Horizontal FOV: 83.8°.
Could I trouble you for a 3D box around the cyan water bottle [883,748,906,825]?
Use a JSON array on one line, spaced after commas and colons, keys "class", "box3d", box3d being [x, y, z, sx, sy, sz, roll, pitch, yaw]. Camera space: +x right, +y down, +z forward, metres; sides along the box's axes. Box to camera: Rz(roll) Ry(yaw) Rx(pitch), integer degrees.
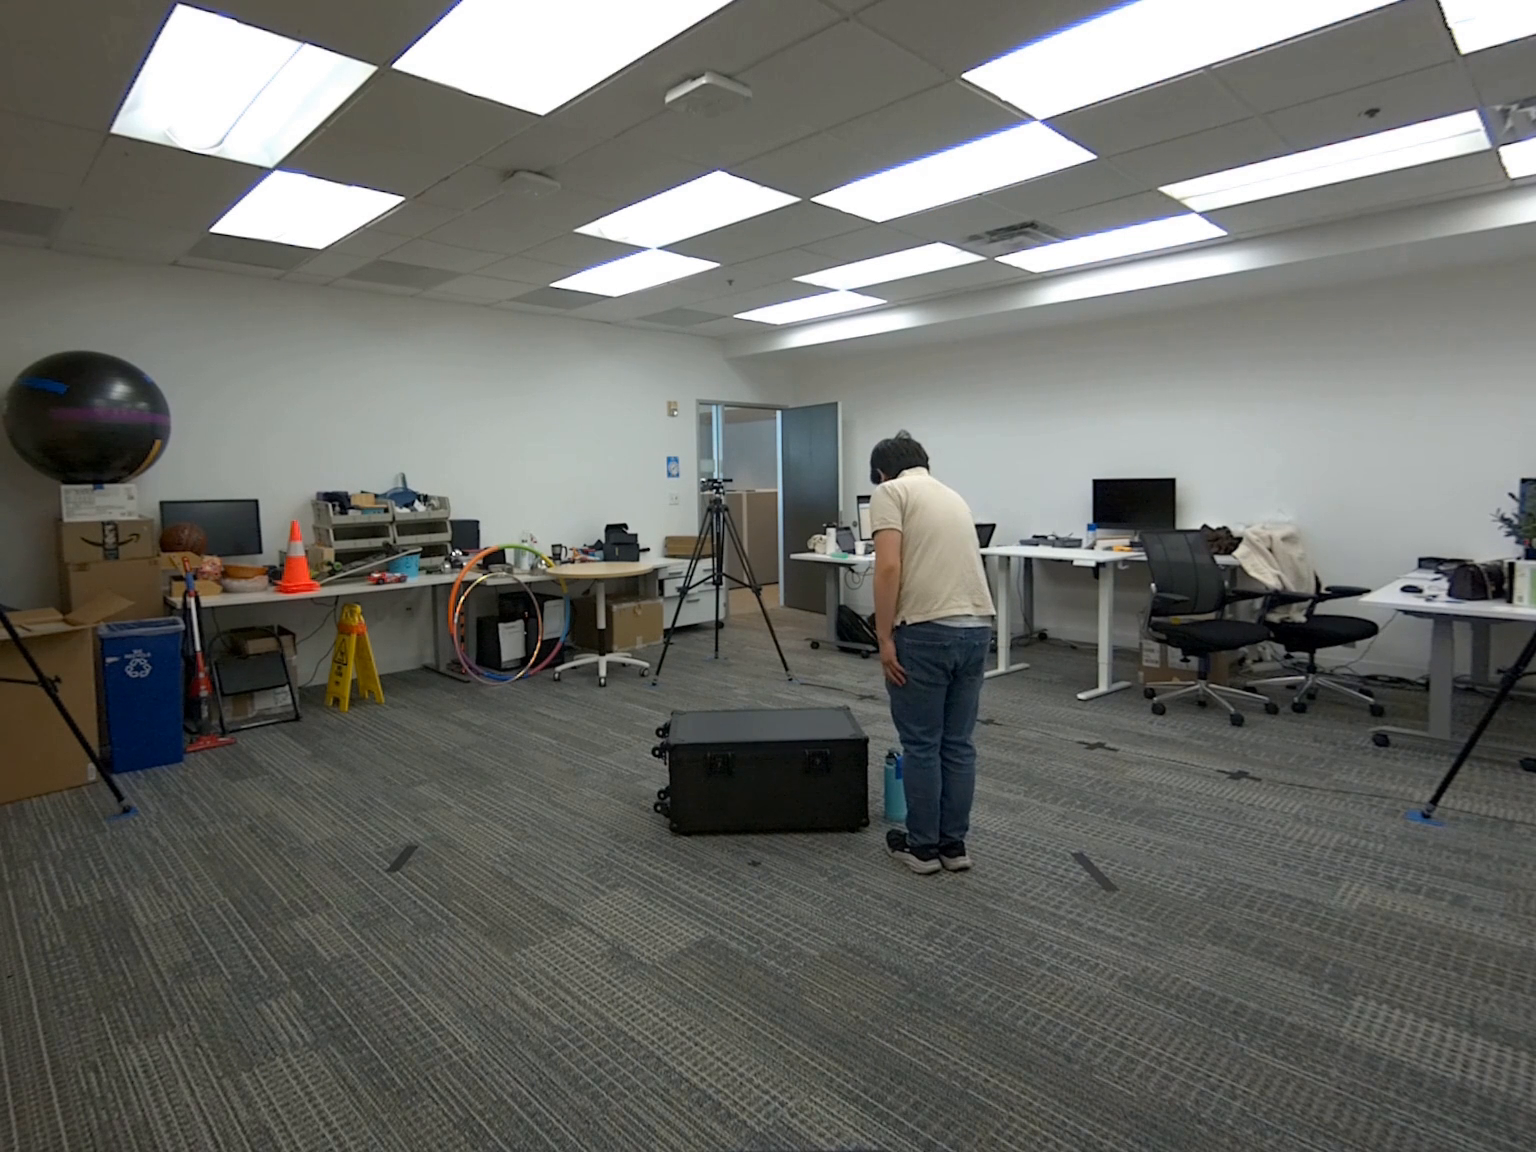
[{"class": "cyan water bottle", "box3d": [0.513, 0.847, 3.500, 0.092, 0.284, 0.092, -1, -1, -2]}]
